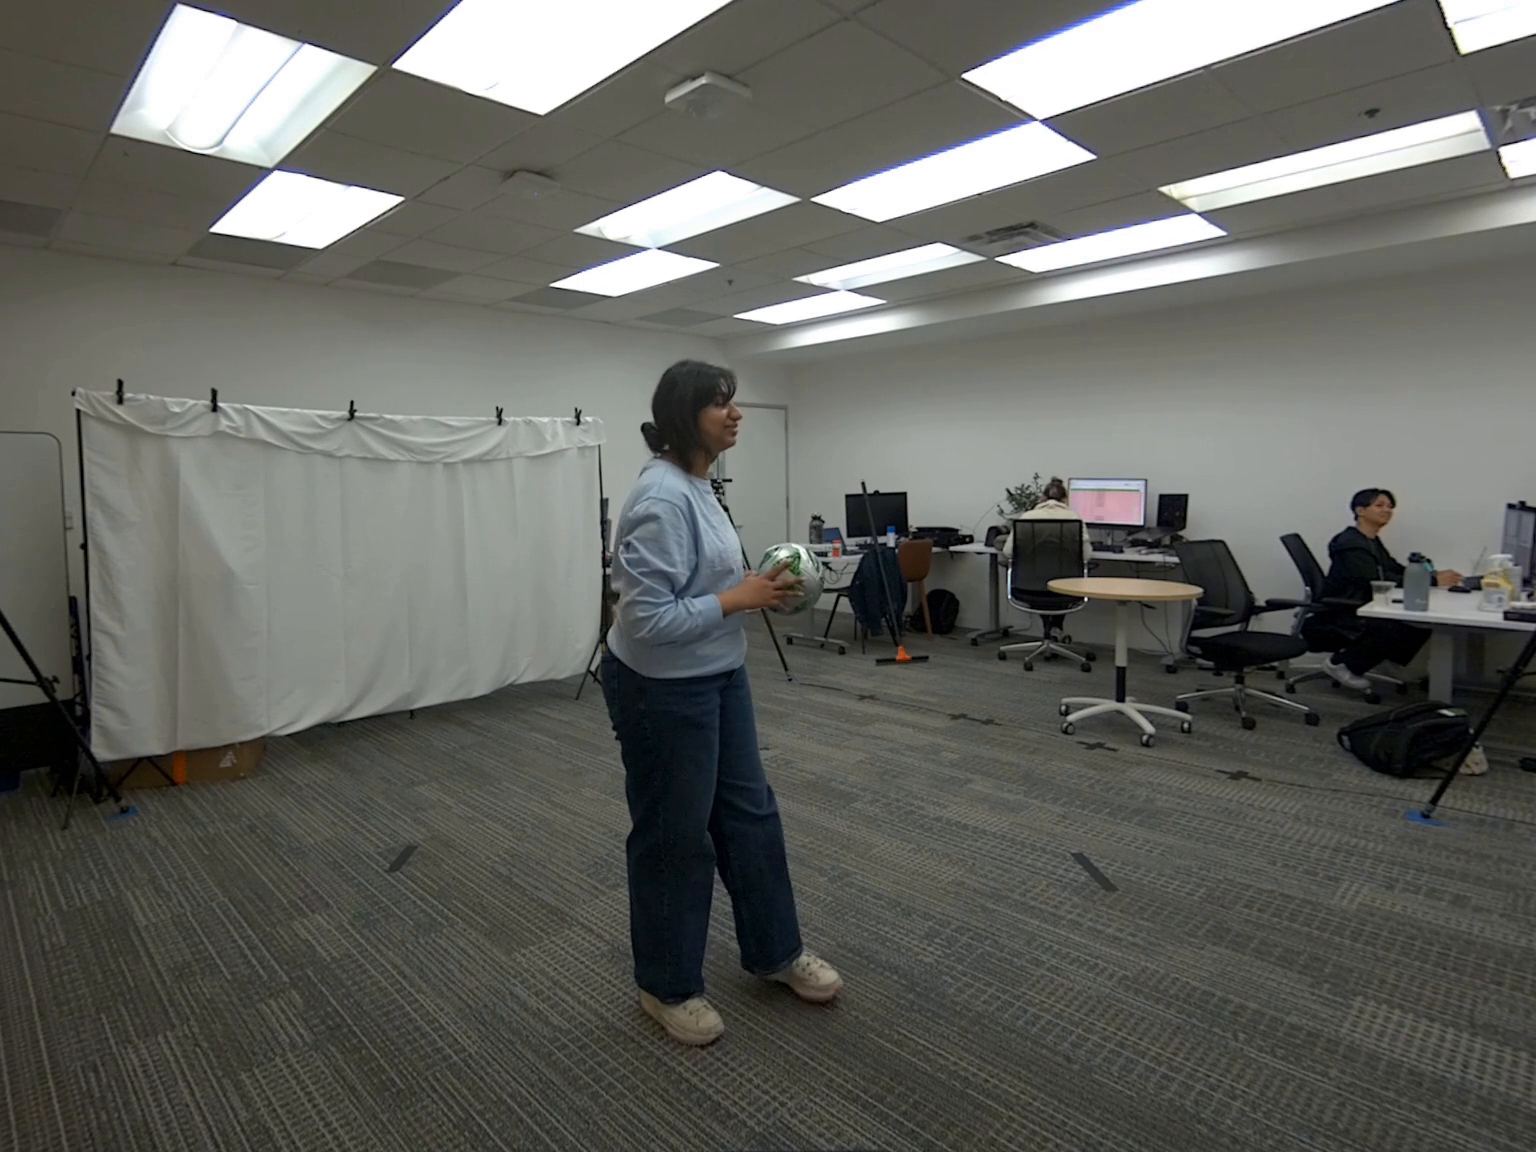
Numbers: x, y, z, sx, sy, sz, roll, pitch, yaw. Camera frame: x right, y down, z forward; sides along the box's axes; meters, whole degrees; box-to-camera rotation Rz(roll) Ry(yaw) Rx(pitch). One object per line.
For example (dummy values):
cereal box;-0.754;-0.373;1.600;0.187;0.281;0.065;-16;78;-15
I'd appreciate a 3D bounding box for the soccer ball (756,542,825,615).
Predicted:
soccer ball;0.050;0.006;2.194;0.187;0.187;0.188;-1;5;-2
